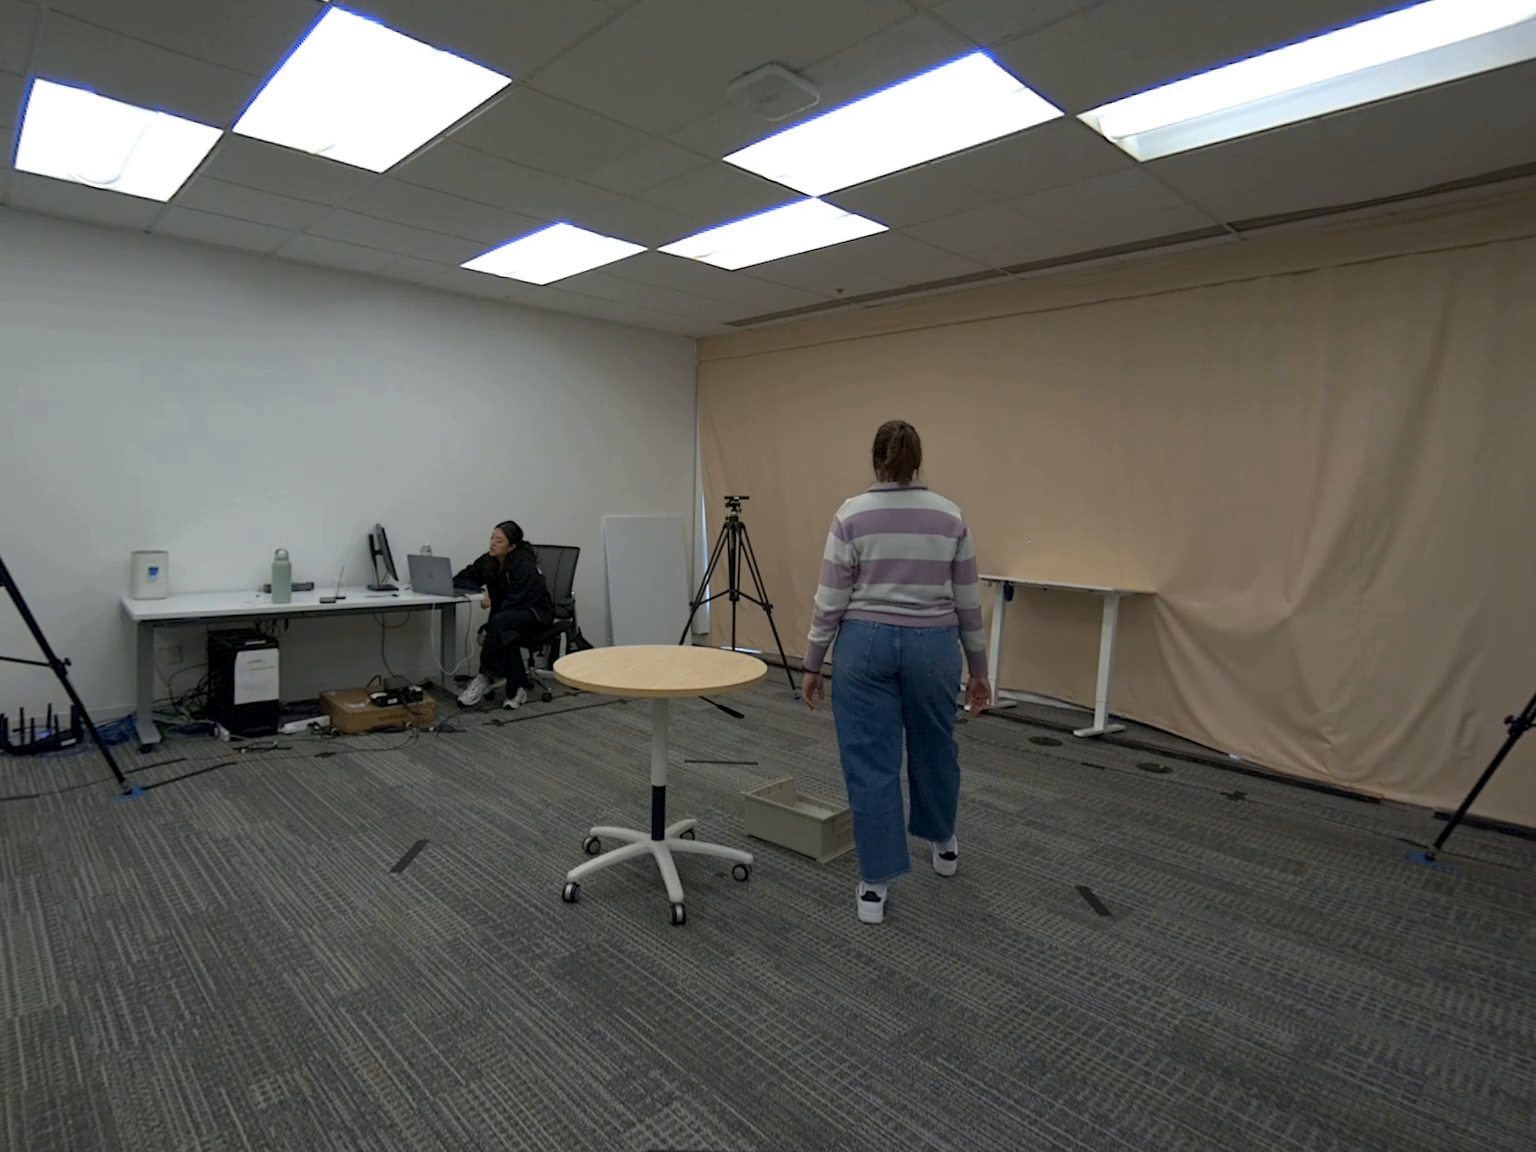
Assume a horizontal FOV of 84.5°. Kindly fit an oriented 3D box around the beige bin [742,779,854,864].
[{"bbox_3d":[0.159,0.988,3.480,0.433,0.188,0.369,5,7,40],"label":"beige bin"}]
